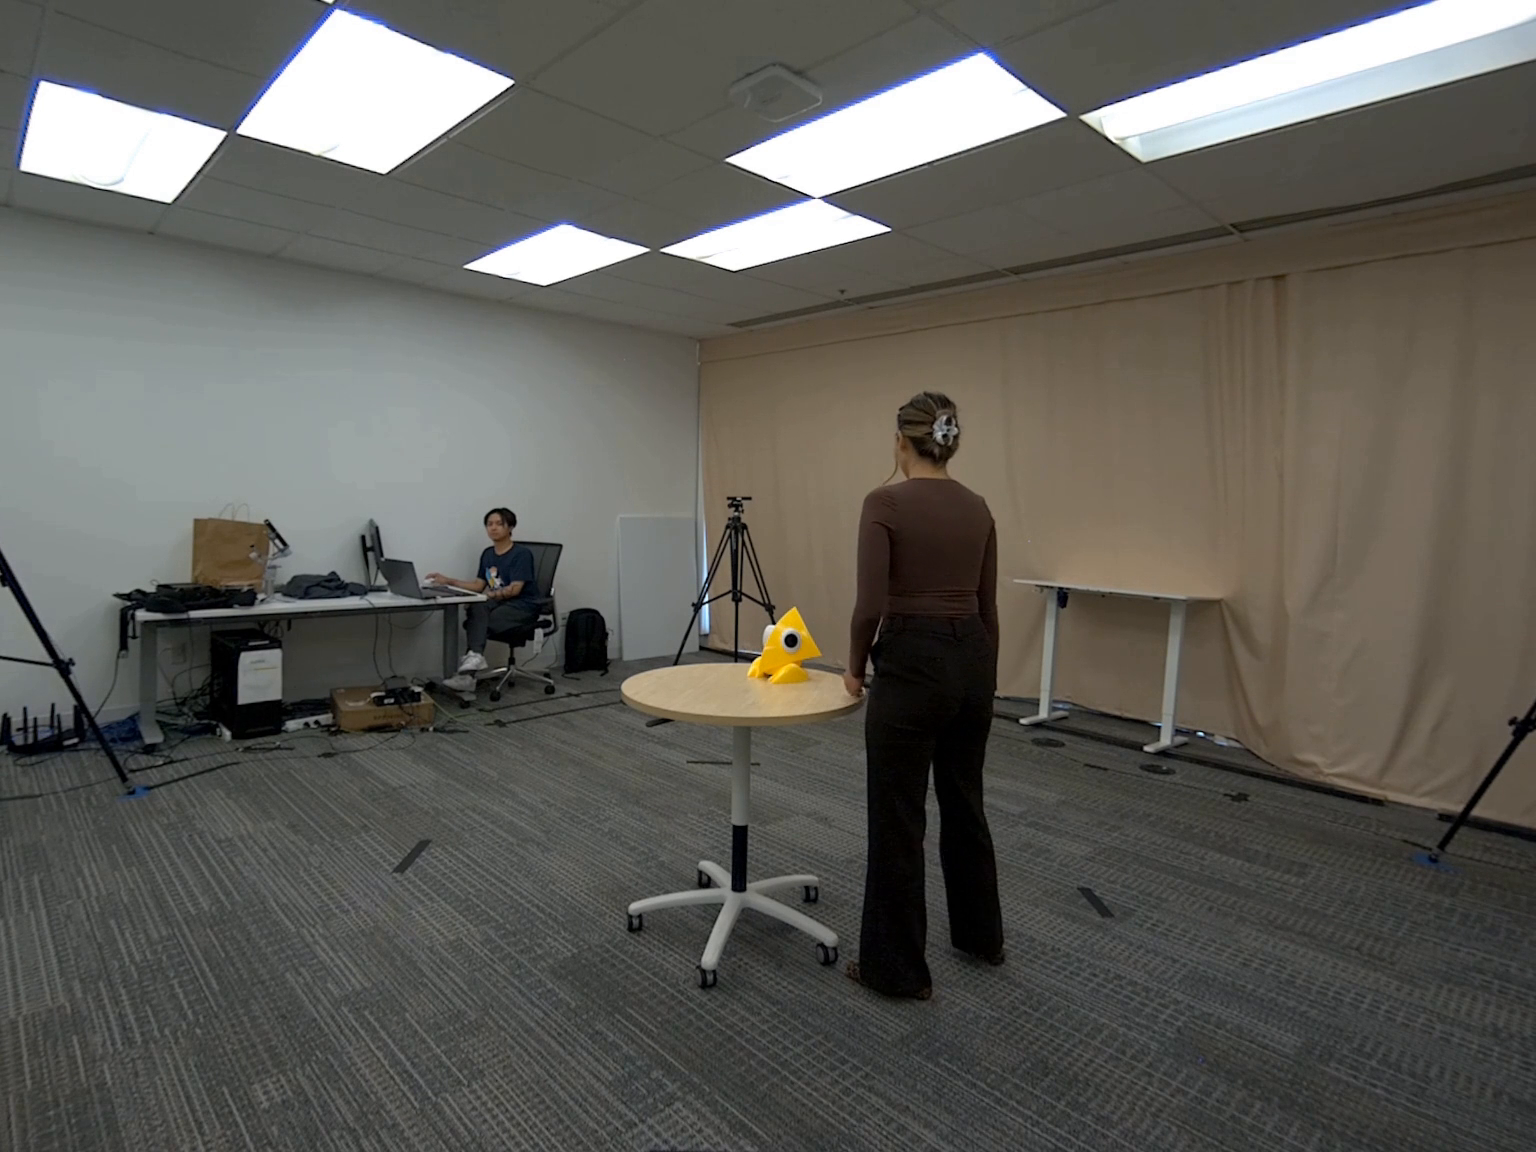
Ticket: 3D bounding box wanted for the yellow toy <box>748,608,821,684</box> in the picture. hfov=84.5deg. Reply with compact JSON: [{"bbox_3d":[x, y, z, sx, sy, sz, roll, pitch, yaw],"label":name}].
[{"bbox_3d":[0.042,0.224,2.818,0.189,0.230,0.210,-3,6,-39],"label":"yellow toy"}]
